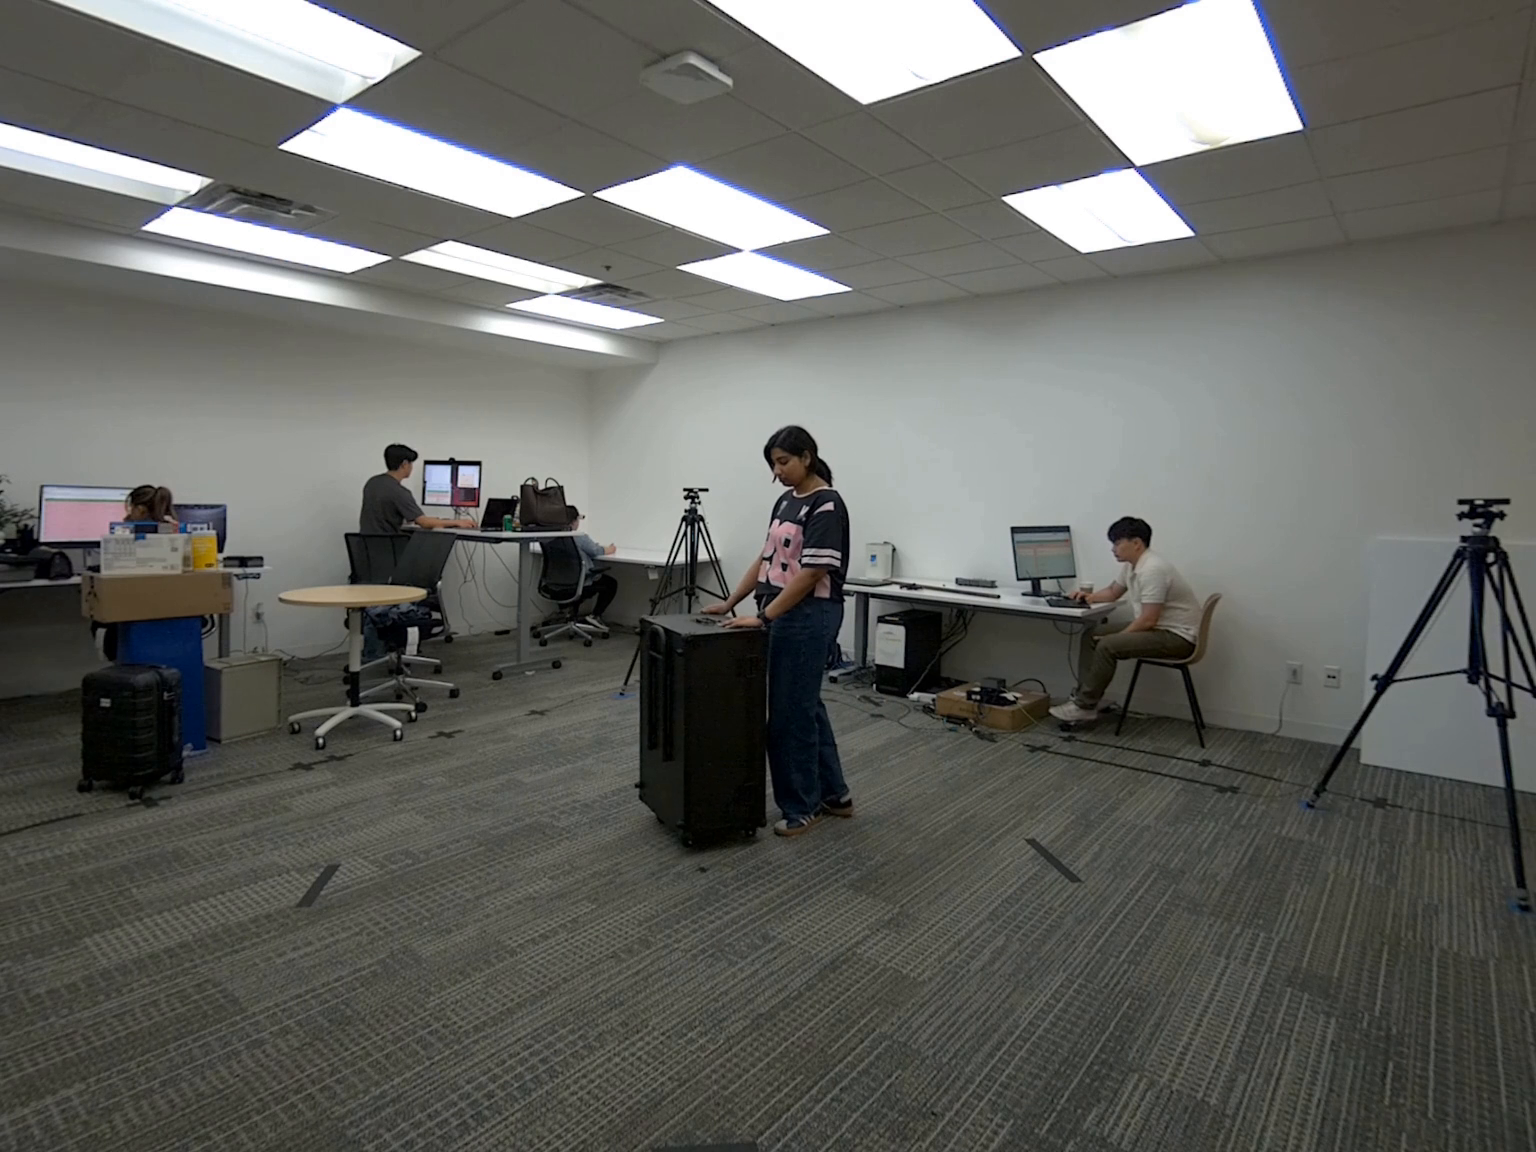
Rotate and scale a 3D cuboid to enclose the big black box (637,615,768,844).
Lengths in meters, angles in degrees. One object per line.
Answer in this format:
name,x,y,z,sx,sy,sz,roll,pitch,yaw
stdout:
big black box,-0.286,0.613,3.449,0.376,0.866,0.538,-1,4,-28
